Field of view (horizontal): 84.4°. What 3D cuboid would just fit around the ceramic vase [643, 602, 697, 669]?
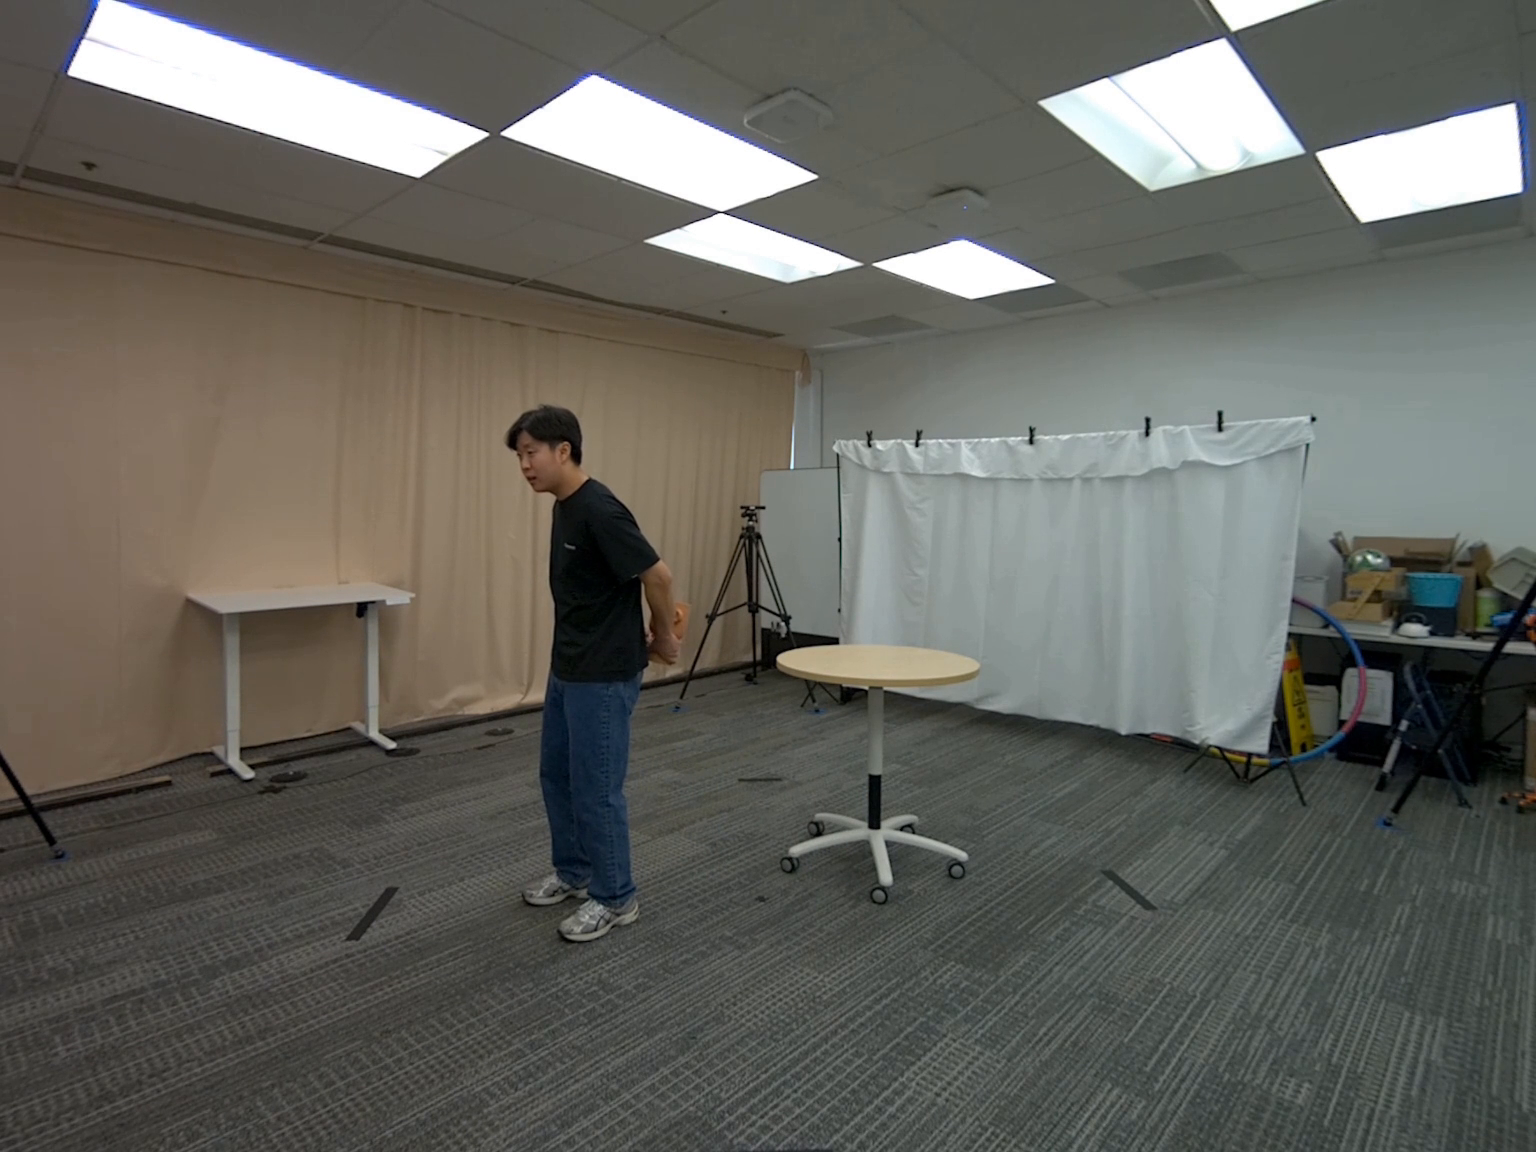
[{"bbox_3d":[-0.360,0.194,2.950,0.137,0.220,0.156,13,-3,13],"label":"ceramic vase"}]
